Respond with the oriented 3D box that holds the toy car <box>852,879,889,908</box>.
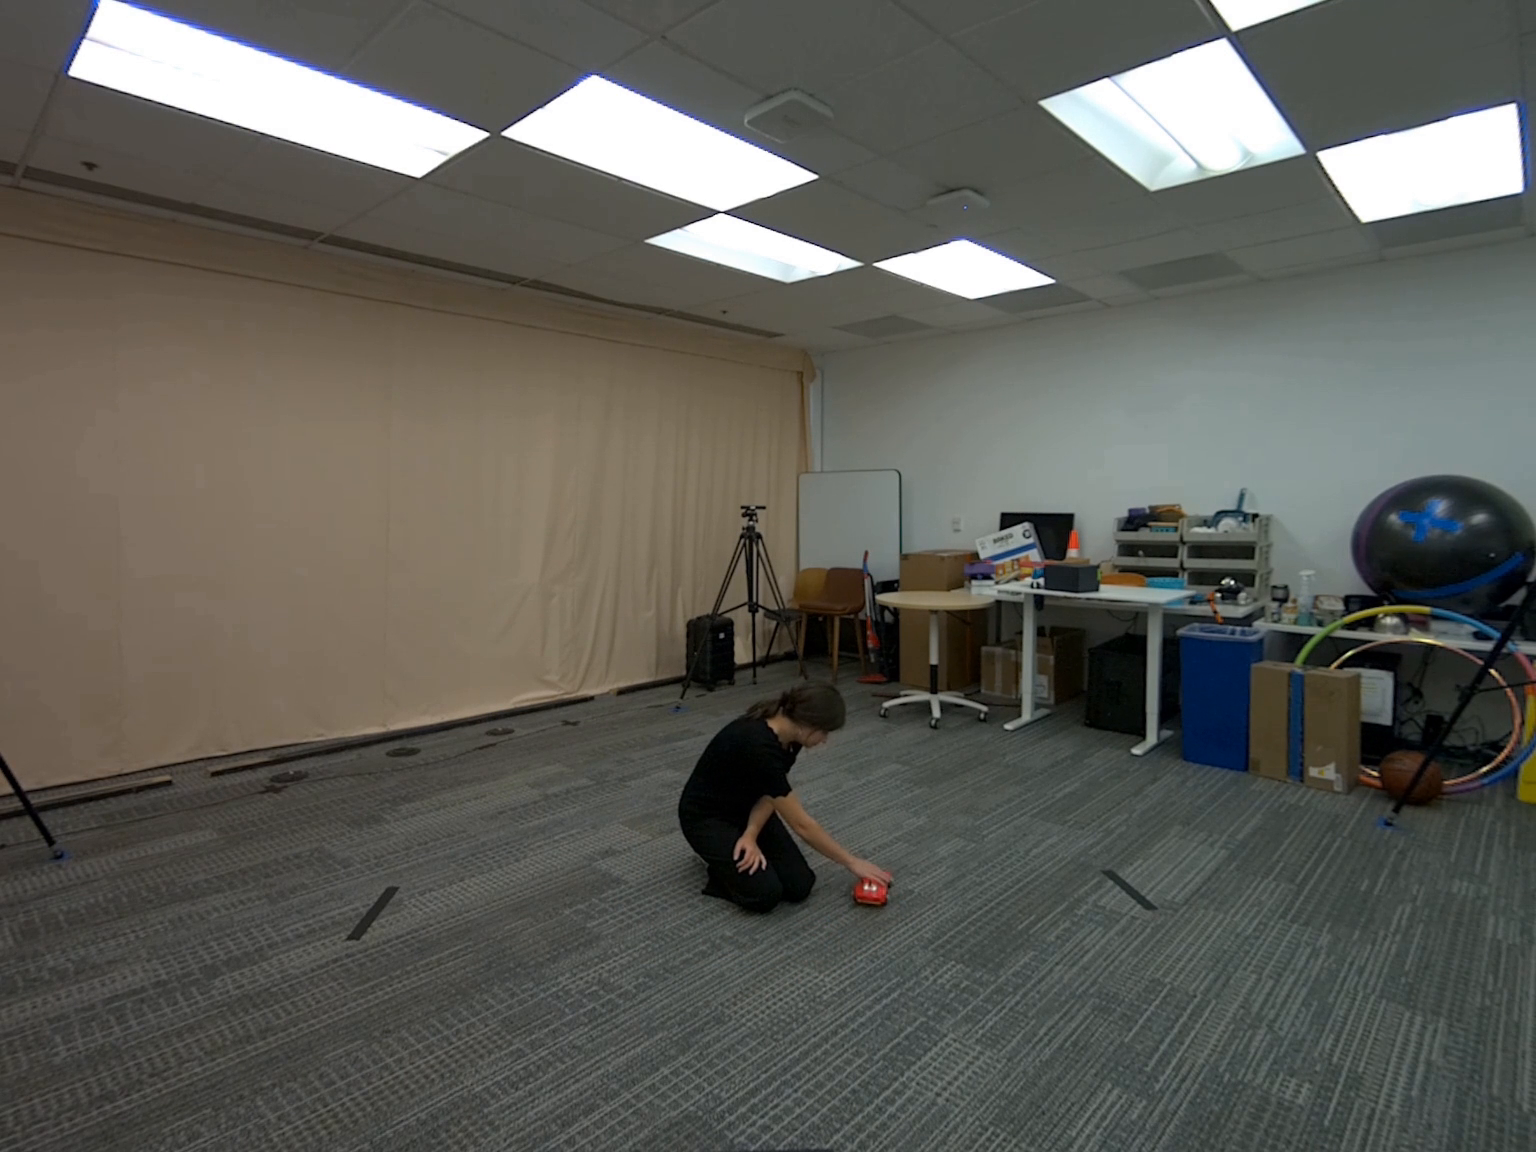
[{"bbox_3d":[0.368,1.113,2.991,0.132,0.083,0.249,2,-5,14],"label":"toy car"}]
